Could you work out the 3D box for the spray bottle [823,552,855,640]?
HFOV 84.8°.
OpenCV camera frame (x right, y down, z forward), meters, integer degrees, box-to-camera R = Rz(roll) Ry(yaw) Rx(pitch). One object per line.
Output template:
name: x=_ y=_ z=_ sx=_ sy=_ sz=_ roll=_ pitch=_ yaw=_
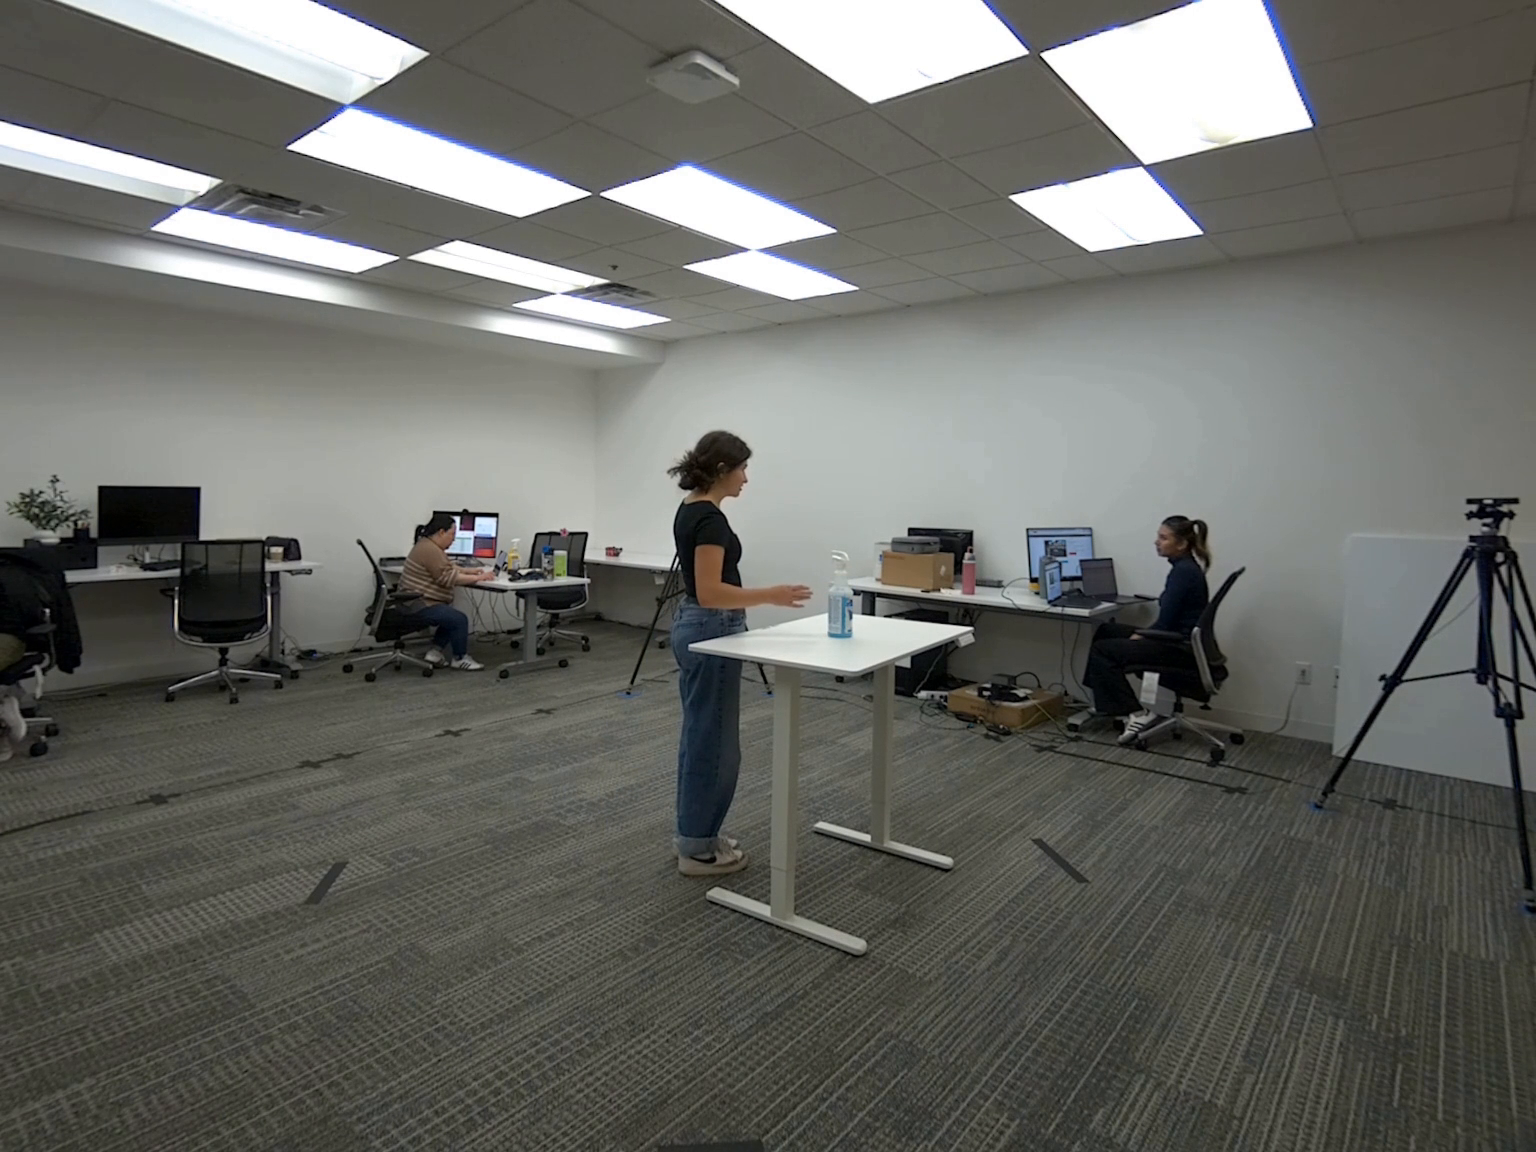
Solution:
spray bottle: x=0.247 y=0.067 z=2.950 sx=0.086 sy=0.296 sz=0.091 roll=0 pitch=3 yaw=-7
